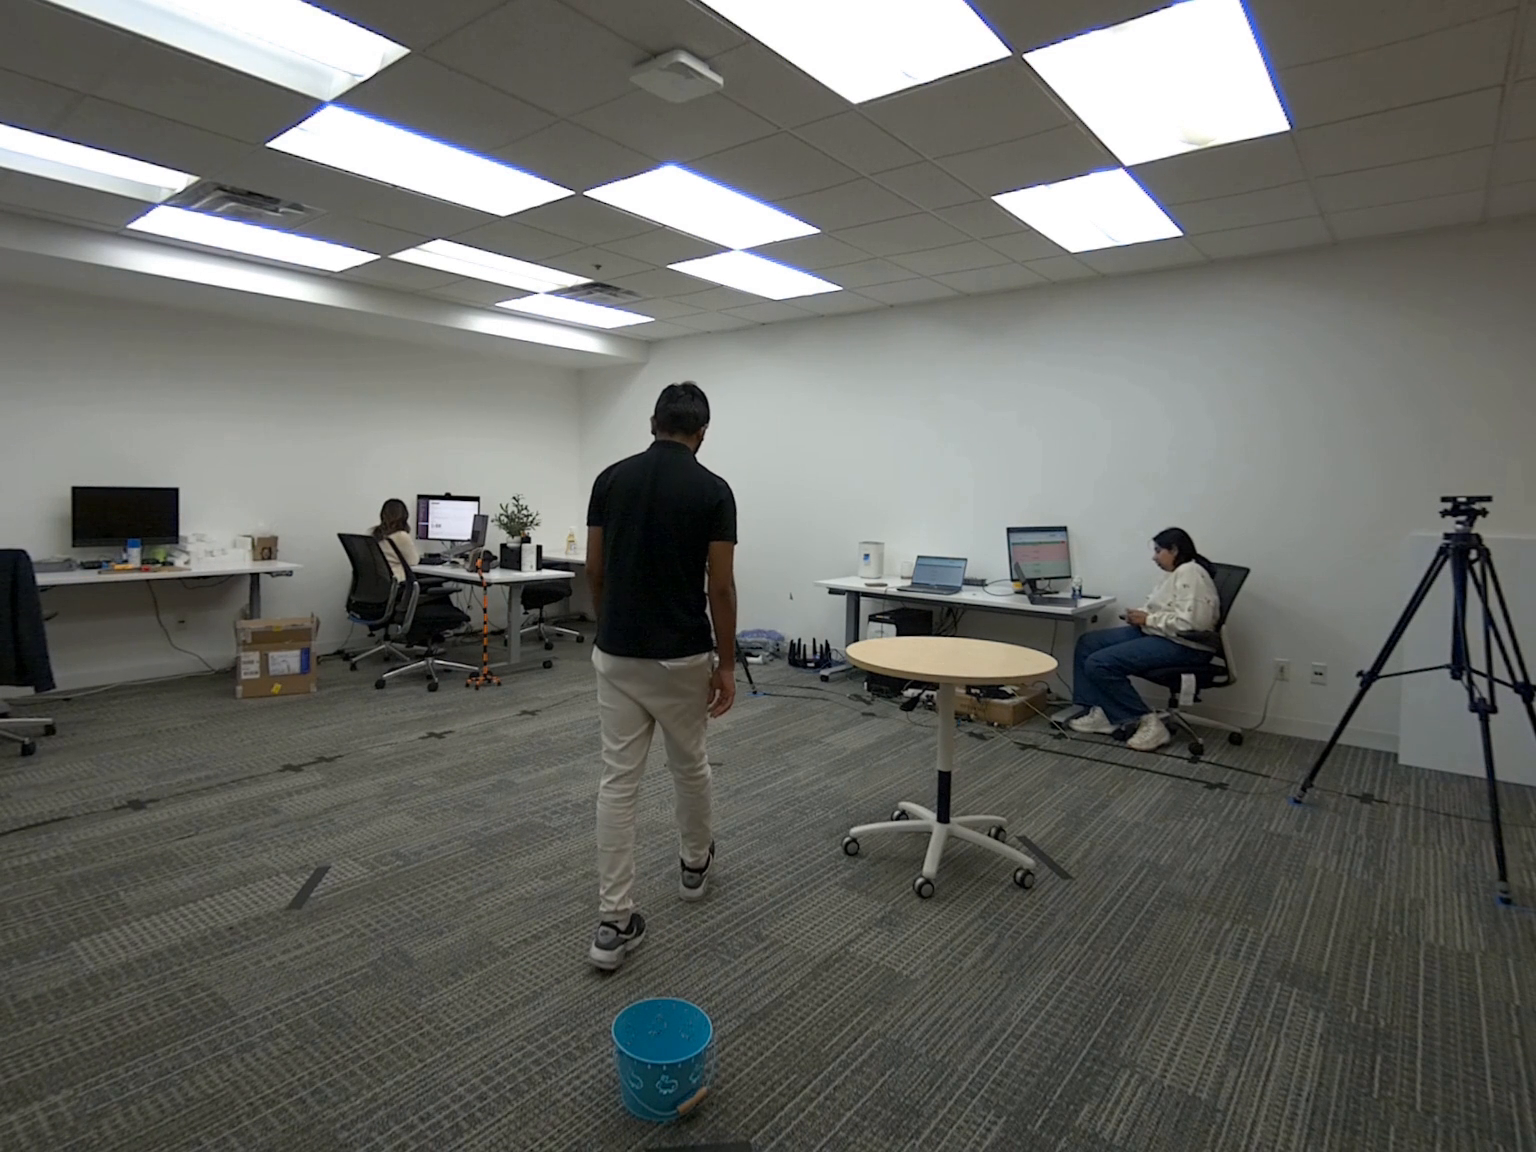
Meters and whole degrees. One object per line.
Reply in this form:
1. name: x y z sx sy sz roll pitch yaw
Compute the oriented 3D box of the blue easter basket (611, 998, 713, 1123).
1. blue easter basket: -0.255 1.103 1.950 0.243 0.155 0.245 1 5 -2
